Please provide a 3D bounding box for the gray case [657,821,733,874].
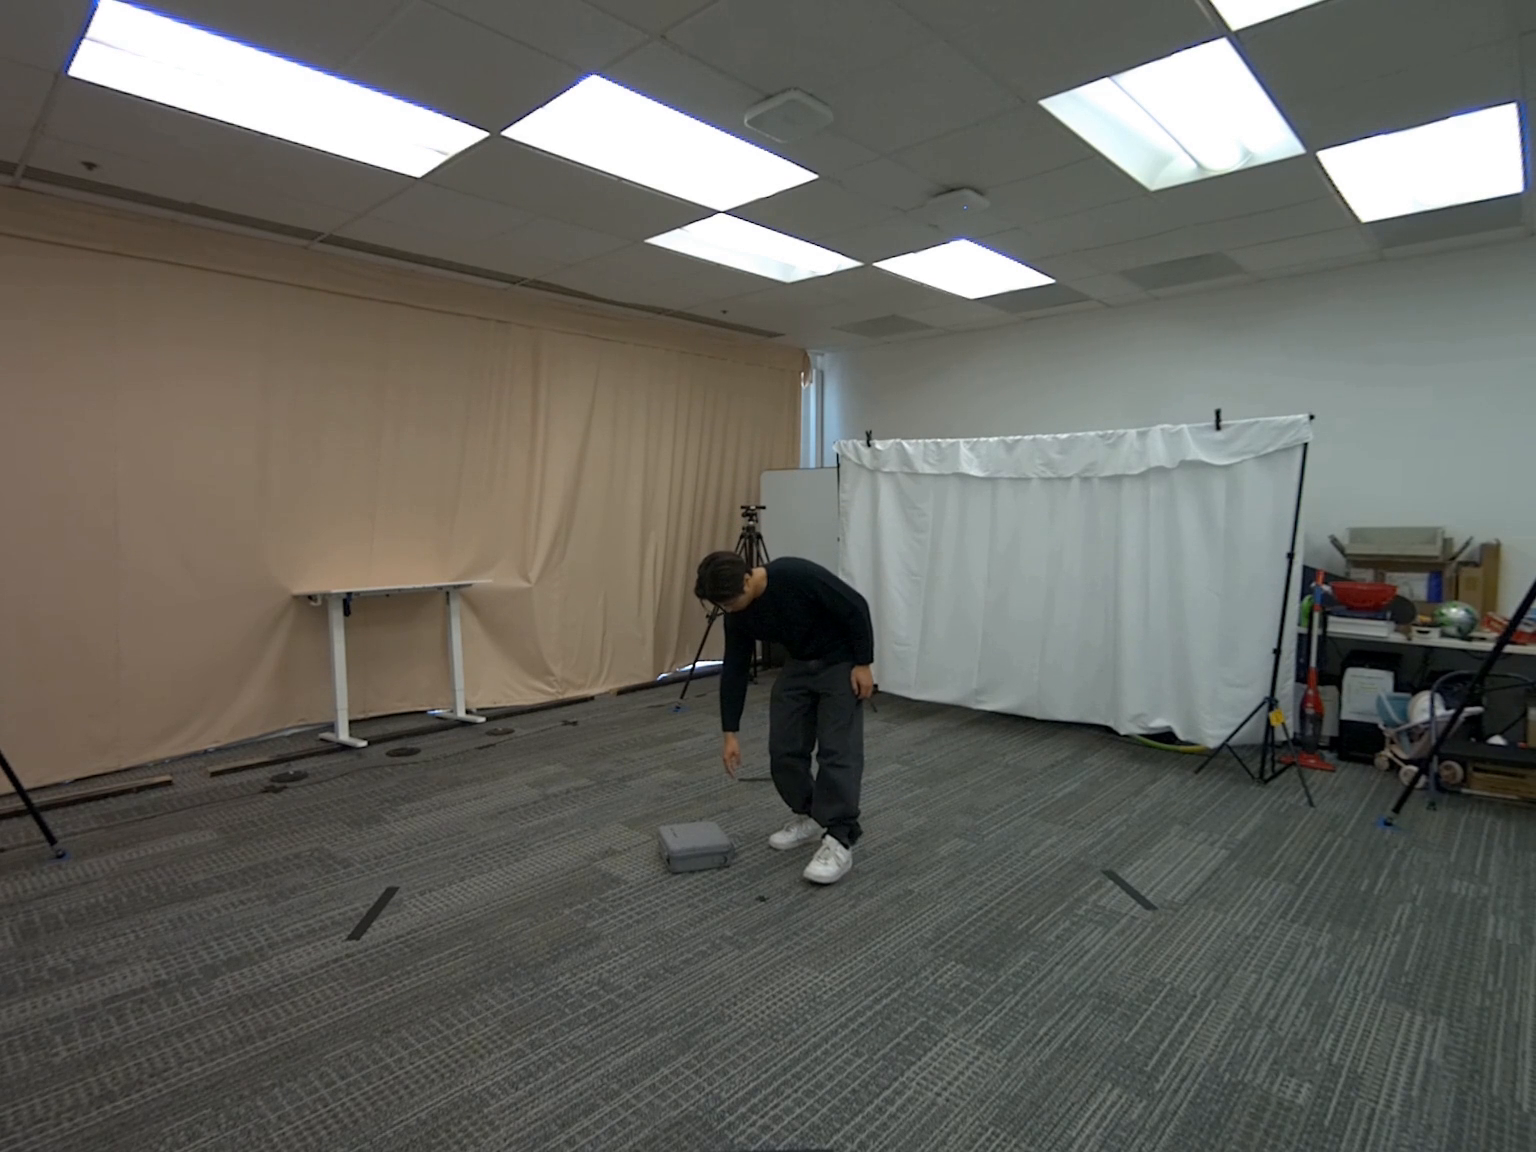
[{"bbox_3d":[-0.295,1.067,3.324,0.256,0.104,0.262,-2,3,-17],"label":"gray case"}]
